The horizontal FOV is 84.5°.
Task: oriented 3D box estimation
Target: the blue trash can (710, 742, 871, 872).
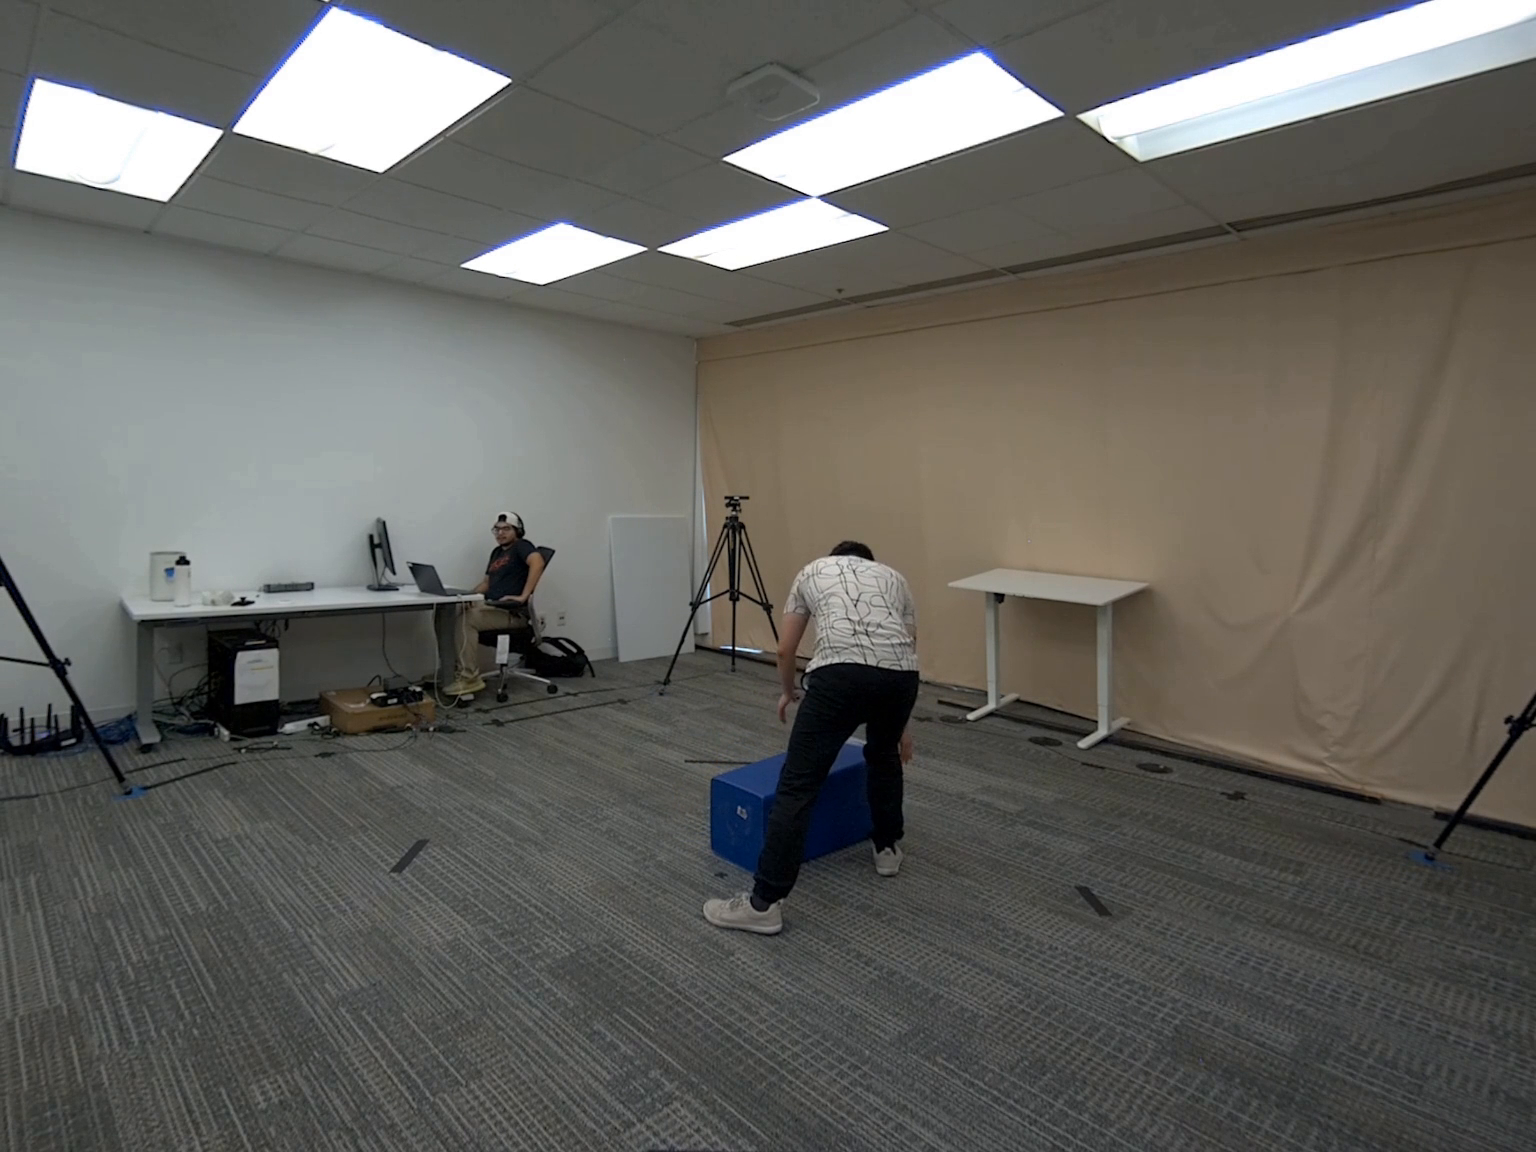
[{"bbox_3d":[0.123,0.912,3.413,0.698,0.376,0.384,-5,8,-41],"label":"blue trash can"}]
